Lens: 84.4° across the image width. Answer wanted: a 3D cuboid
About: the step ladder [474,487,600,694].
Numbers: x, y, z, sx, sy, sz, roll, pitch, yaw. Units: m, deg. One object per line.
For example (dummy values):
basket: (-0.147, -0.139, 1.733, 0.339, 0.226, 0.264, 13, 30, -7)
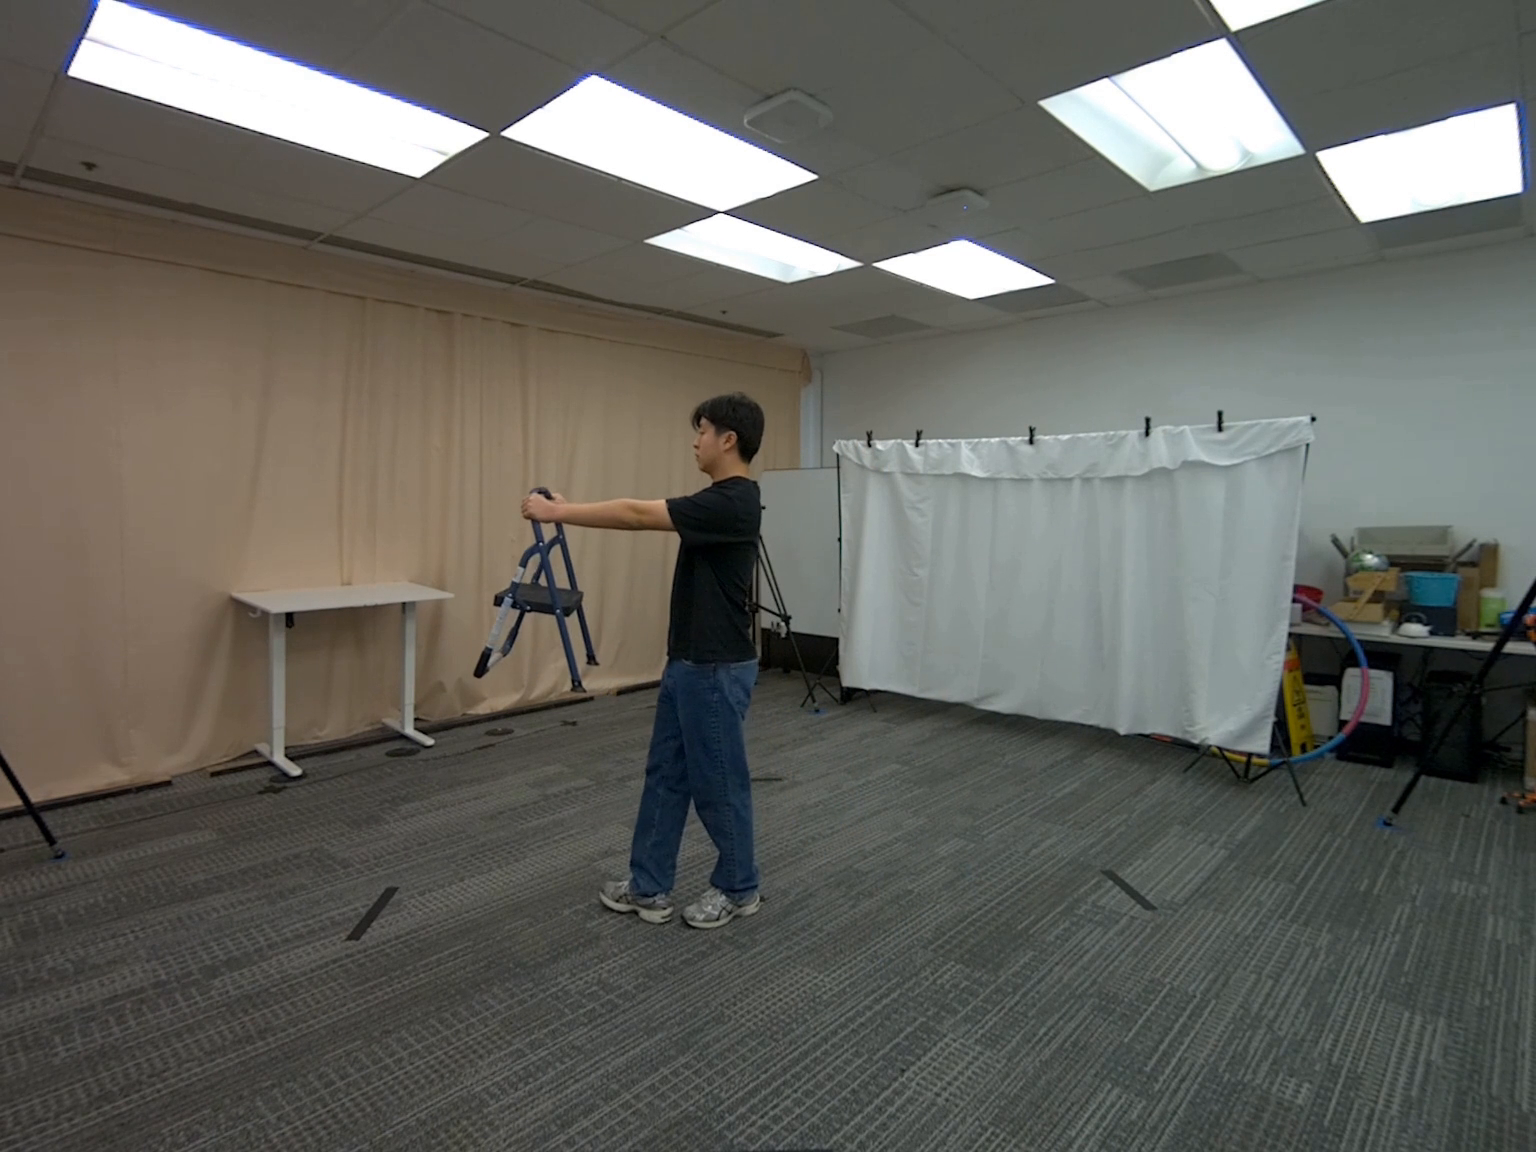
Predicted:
step ladder: (-0.716, 0.022, 2.800, 0.348, 0.605, 0.433, 7, 4, -5)
